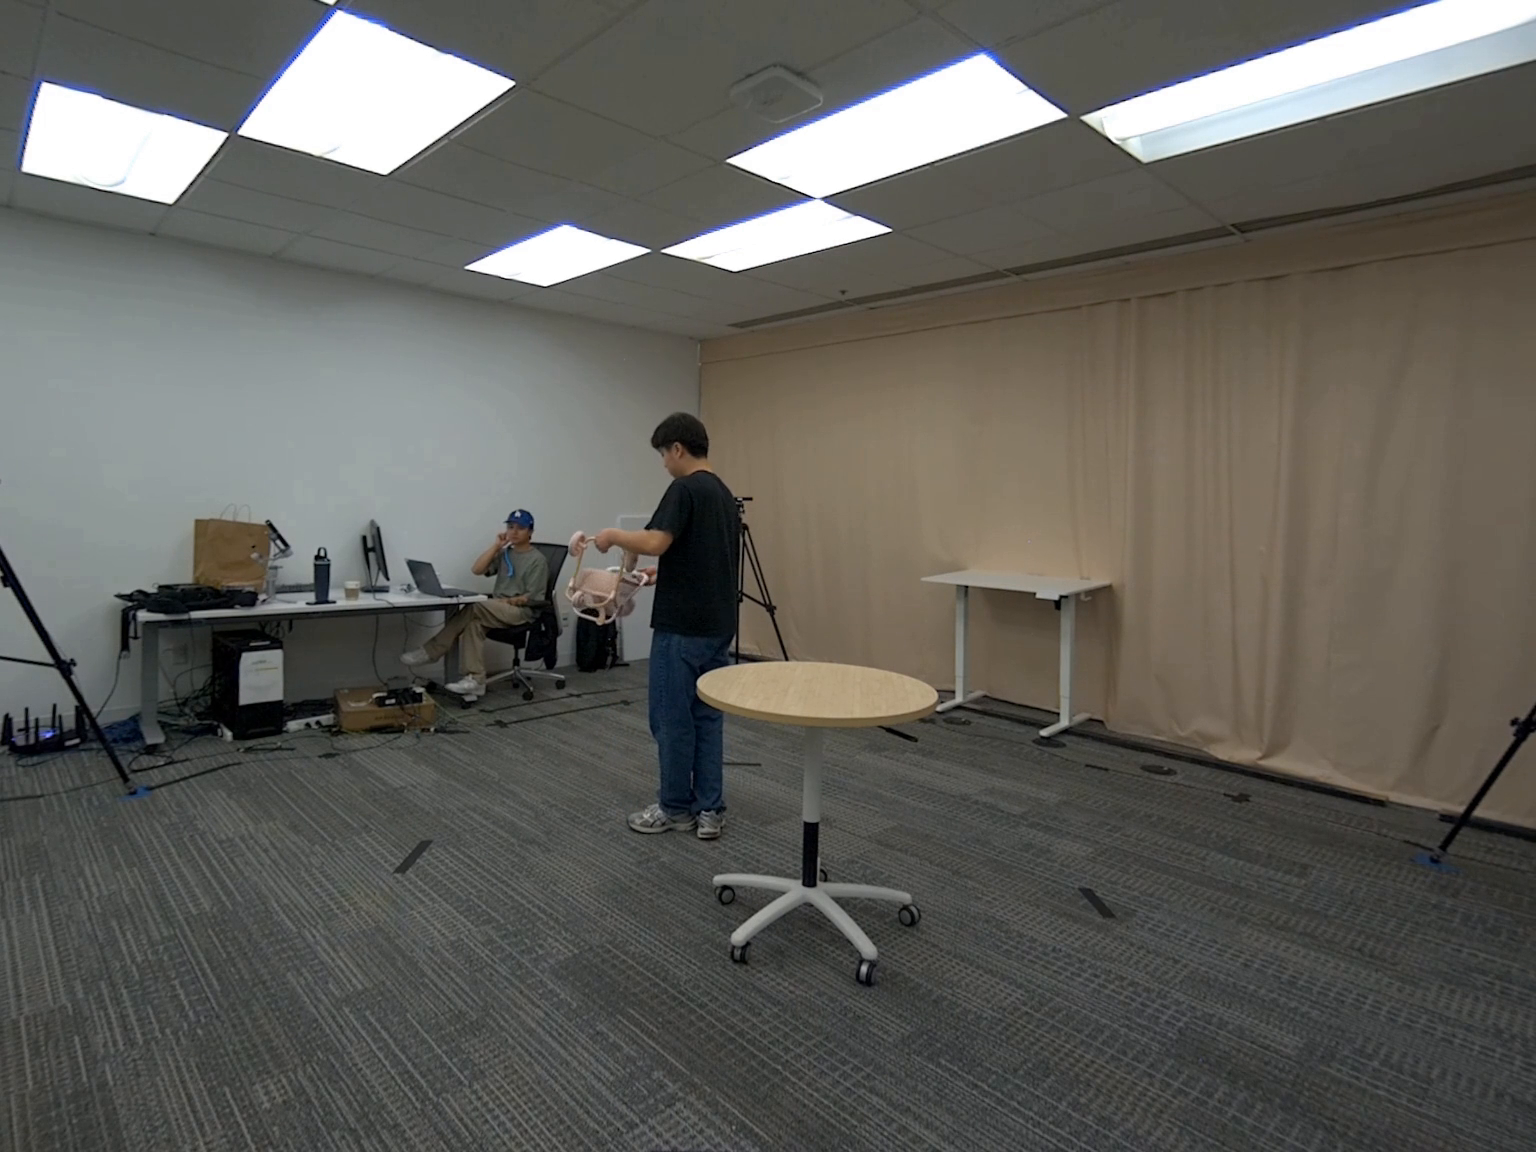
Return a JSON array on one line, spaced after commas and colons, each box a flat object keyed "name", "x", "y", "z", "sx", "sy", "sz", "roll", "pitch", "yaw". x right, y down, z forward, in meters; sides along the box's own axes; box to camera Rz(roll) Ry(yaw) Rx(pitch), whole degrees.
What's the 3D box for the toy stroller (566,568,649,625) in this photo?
[{"name": "toy stroller", "x": -0.696, "y": 0.049, "z": 3.582, "sx": 0.284, "sy": 0.344, "sz": 0.525, "roll": 12, "pitch": -17, "yaw": 9}]
